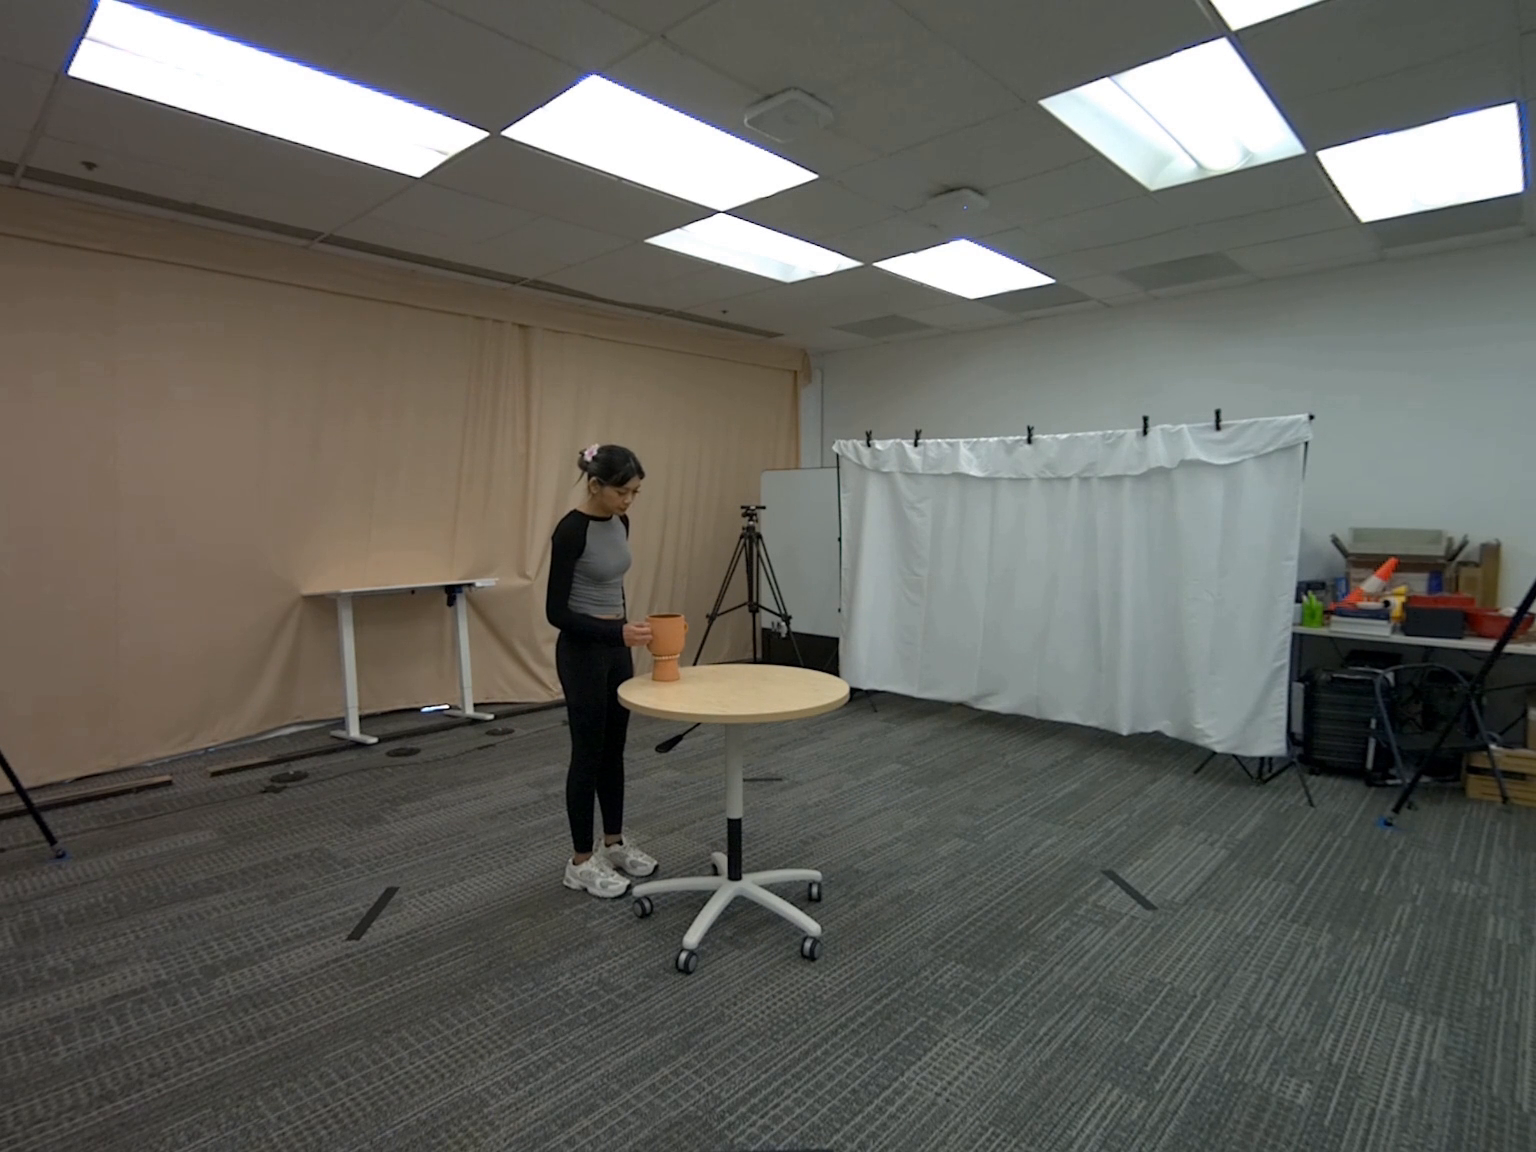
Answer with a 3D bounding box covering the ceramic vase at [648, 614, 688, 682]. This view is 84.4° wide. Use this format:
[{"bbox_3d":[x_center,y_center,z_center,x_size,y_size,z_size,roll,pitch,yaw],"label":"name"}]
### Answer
[{"bbox_3d":[-0.357,0.252,2.921,0.158,0.219,0.135,0,4,-5],"label":"ceramic vase"}]
